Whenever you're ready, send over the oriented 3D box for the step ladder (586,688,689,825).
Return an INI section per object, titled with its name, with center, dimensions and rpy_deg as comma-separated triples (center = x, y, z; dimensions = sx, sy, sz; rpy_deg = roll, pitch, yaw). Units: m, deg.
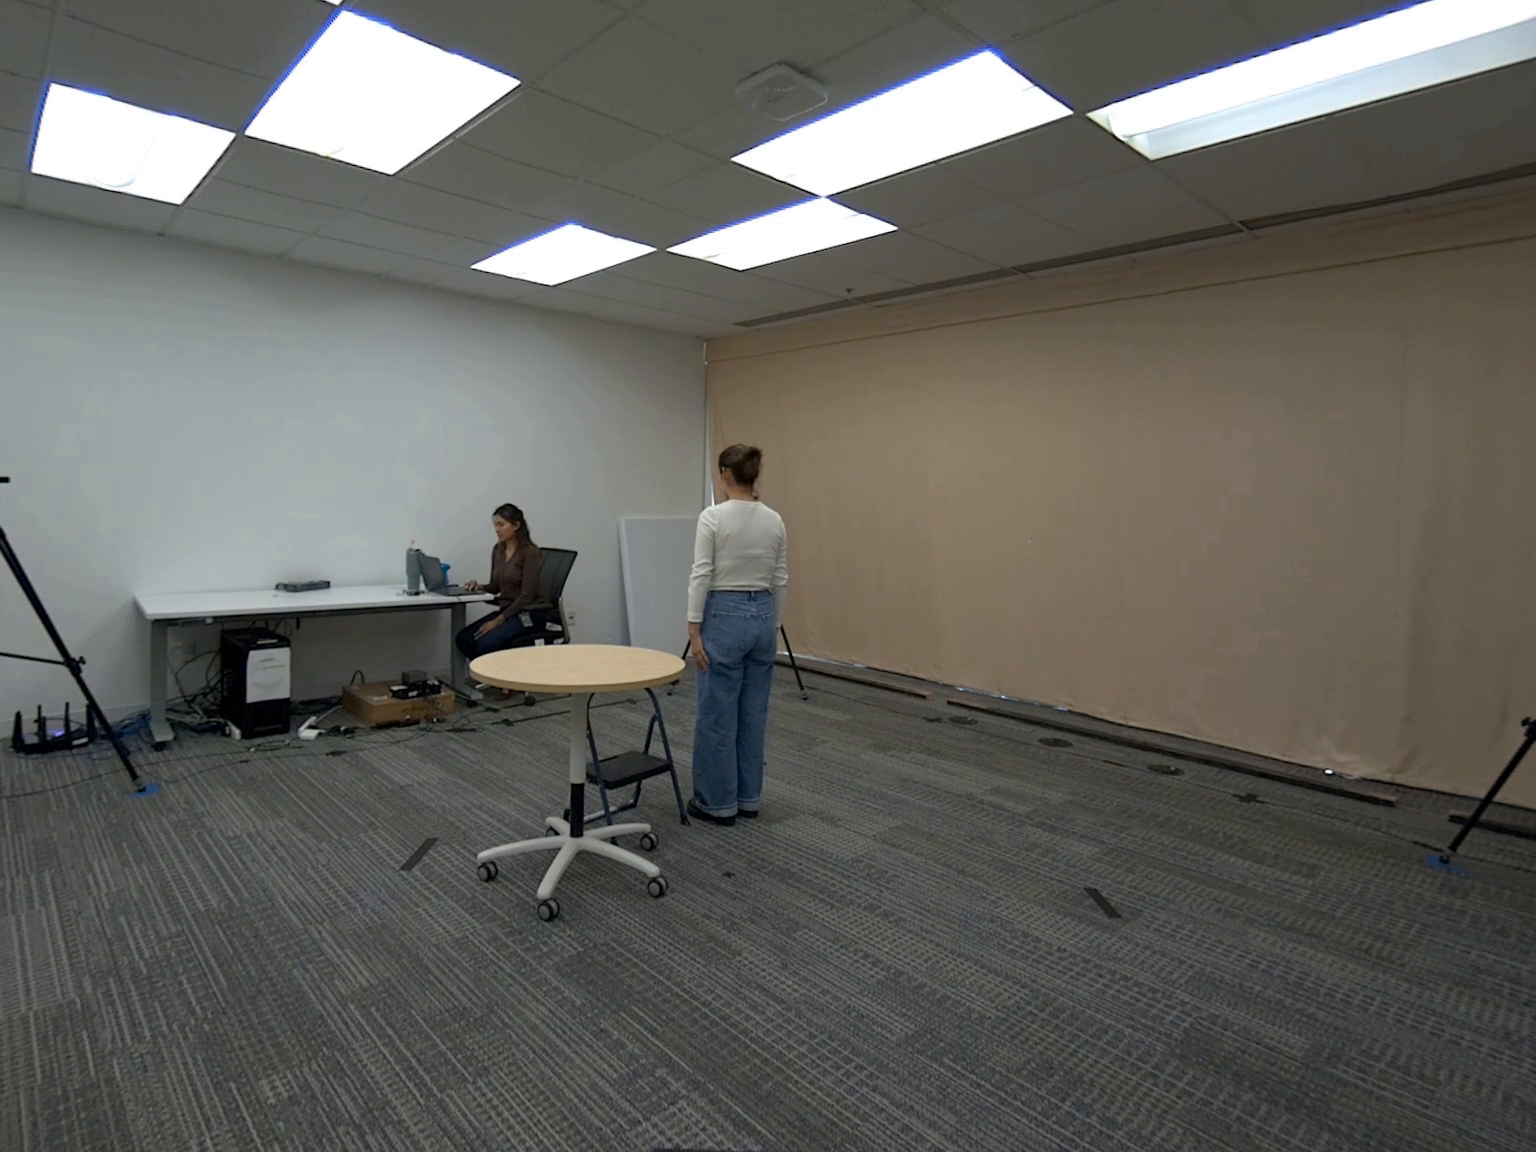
[step ladder]
center = -0.588, 0.750, 3.517
dimensions = 0.358, 0.605, 0.421
rpy_deg = 4, 4, 38
